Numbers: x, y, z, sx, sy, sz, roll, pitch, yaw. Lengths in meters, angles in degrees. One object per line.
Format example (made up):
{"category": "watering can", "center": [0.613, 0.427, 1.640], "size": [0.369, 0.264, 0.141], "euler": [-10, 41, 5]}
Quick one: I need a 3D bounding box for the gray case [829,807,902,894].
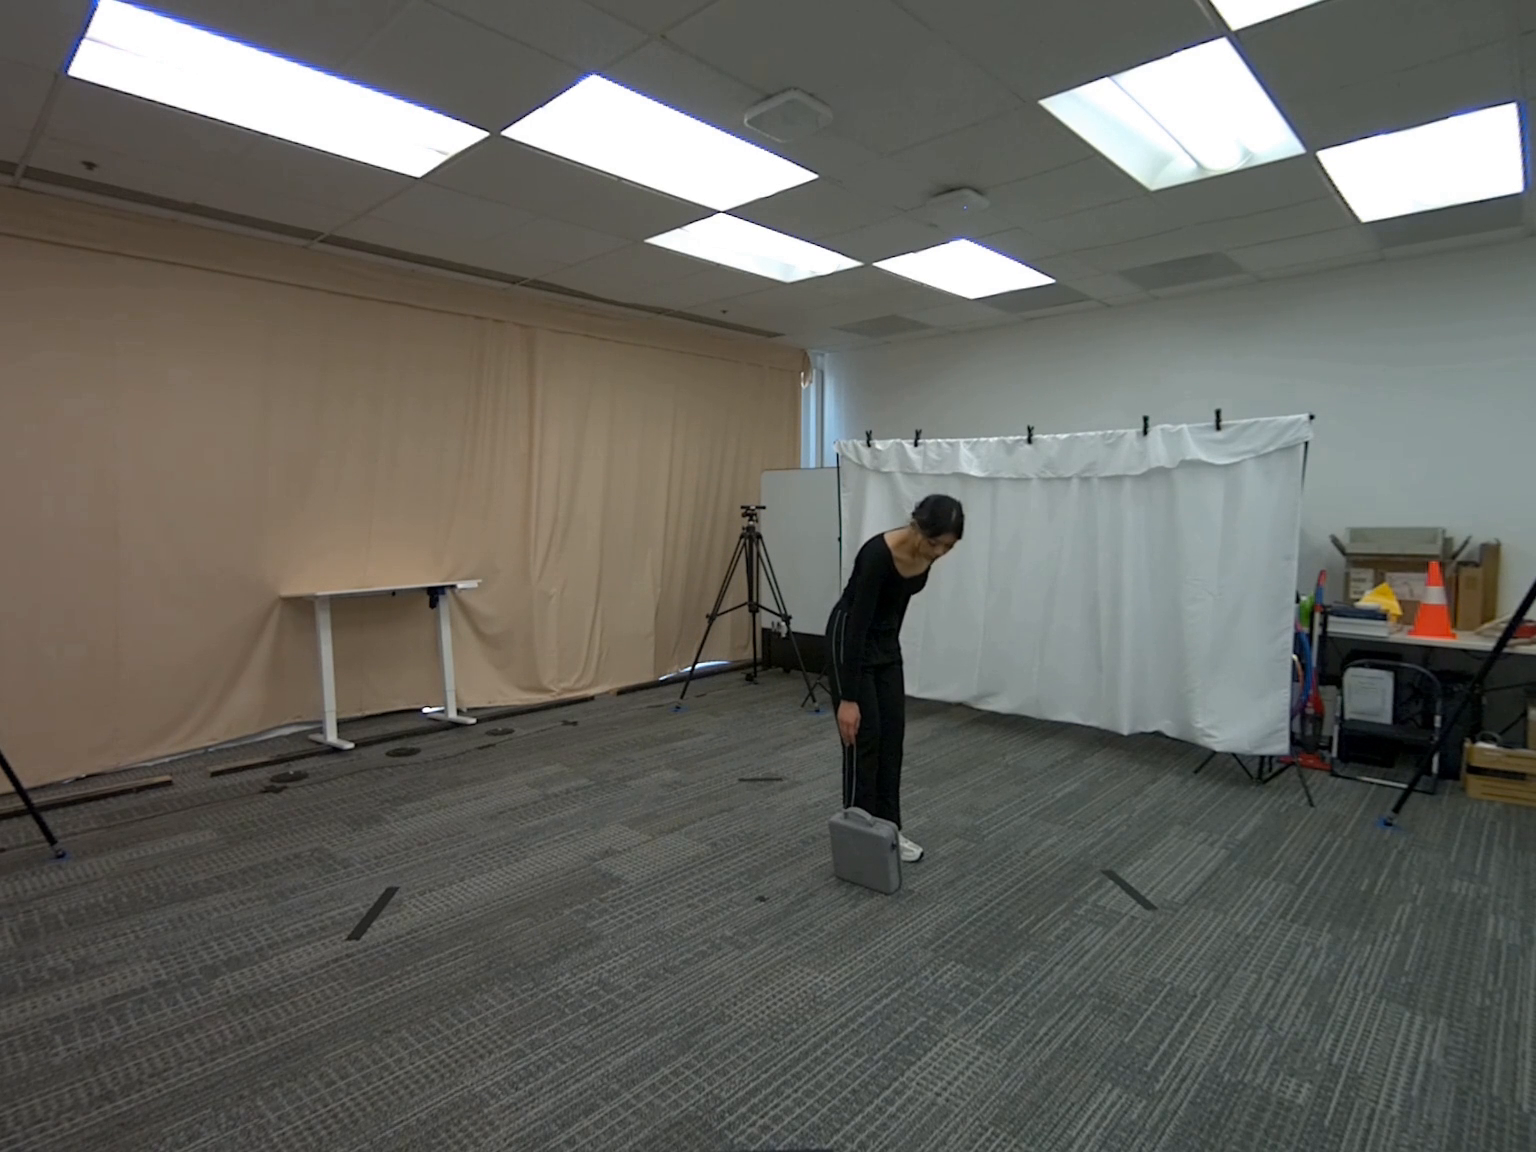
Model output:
{"category": "gray case", "center": [0.360, 1.000, 3.079], "size": [0.265, 0.258, 0.102], "euler": [4, 16, 40]}
